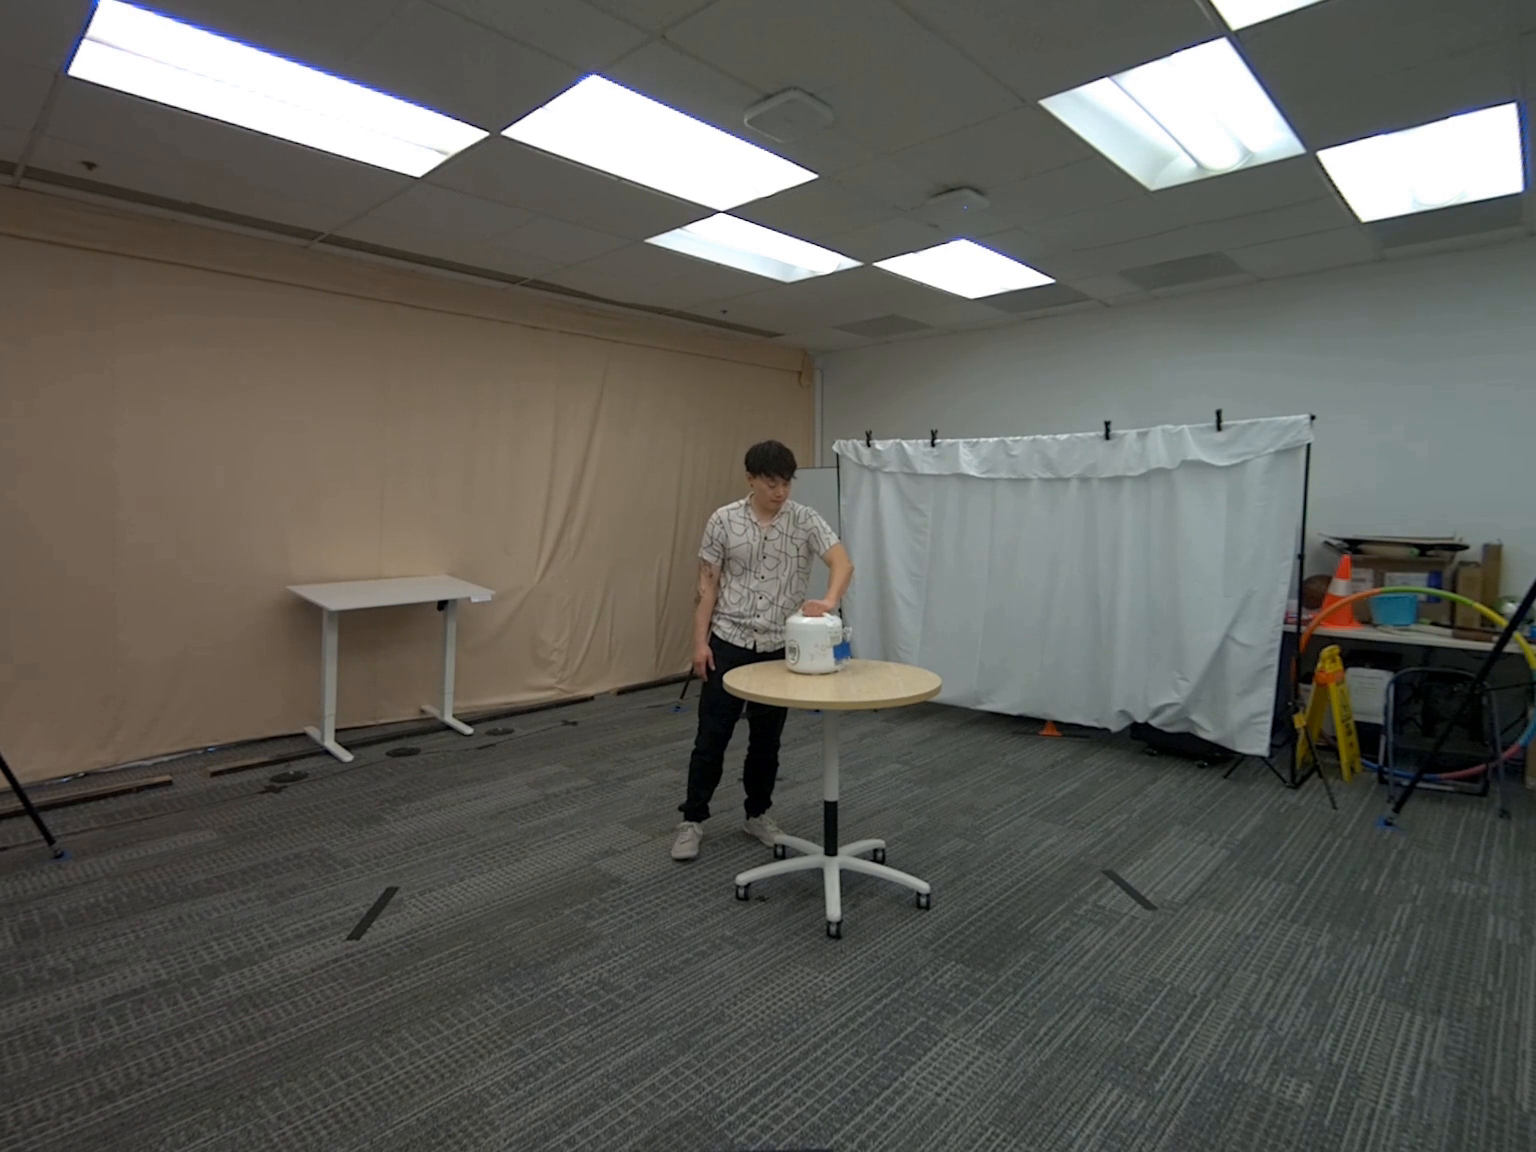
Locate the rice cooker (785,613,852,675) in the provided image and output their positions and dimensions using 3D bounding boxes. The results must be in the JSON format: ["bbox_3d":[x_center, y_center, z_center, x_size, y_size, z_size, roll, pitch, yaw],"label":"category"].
[{"bbox_3d":[0.176,0.237,3.106,0.211,0.232,0.228,-1,3,-41],"label":"rice cooker"}]
